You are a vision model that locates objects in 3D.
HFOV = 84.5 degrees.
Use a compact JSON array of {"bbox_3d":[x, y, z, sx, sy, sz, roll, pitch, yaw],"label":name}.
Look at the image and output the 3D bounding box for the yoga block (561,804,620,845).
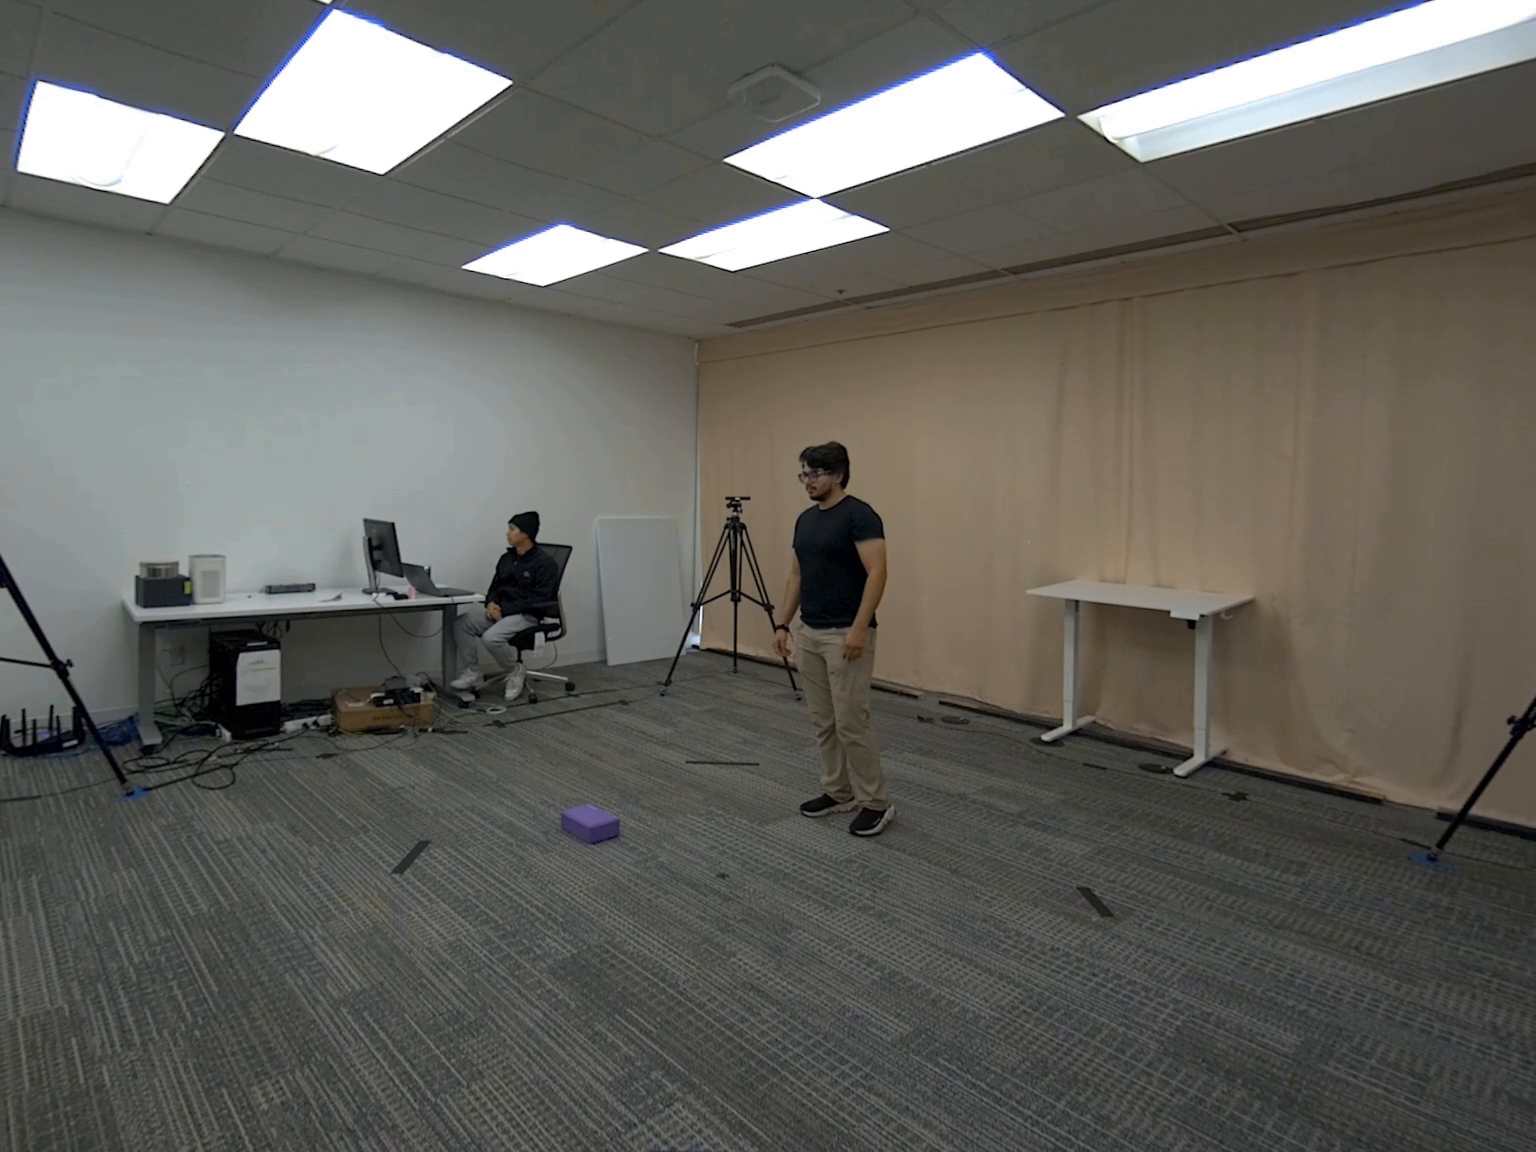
[{"bbox_3d":[-0.744,1.022,3.477,0.145,0.076,0.235,-4,7,-44],"label":"yoga block"}]
